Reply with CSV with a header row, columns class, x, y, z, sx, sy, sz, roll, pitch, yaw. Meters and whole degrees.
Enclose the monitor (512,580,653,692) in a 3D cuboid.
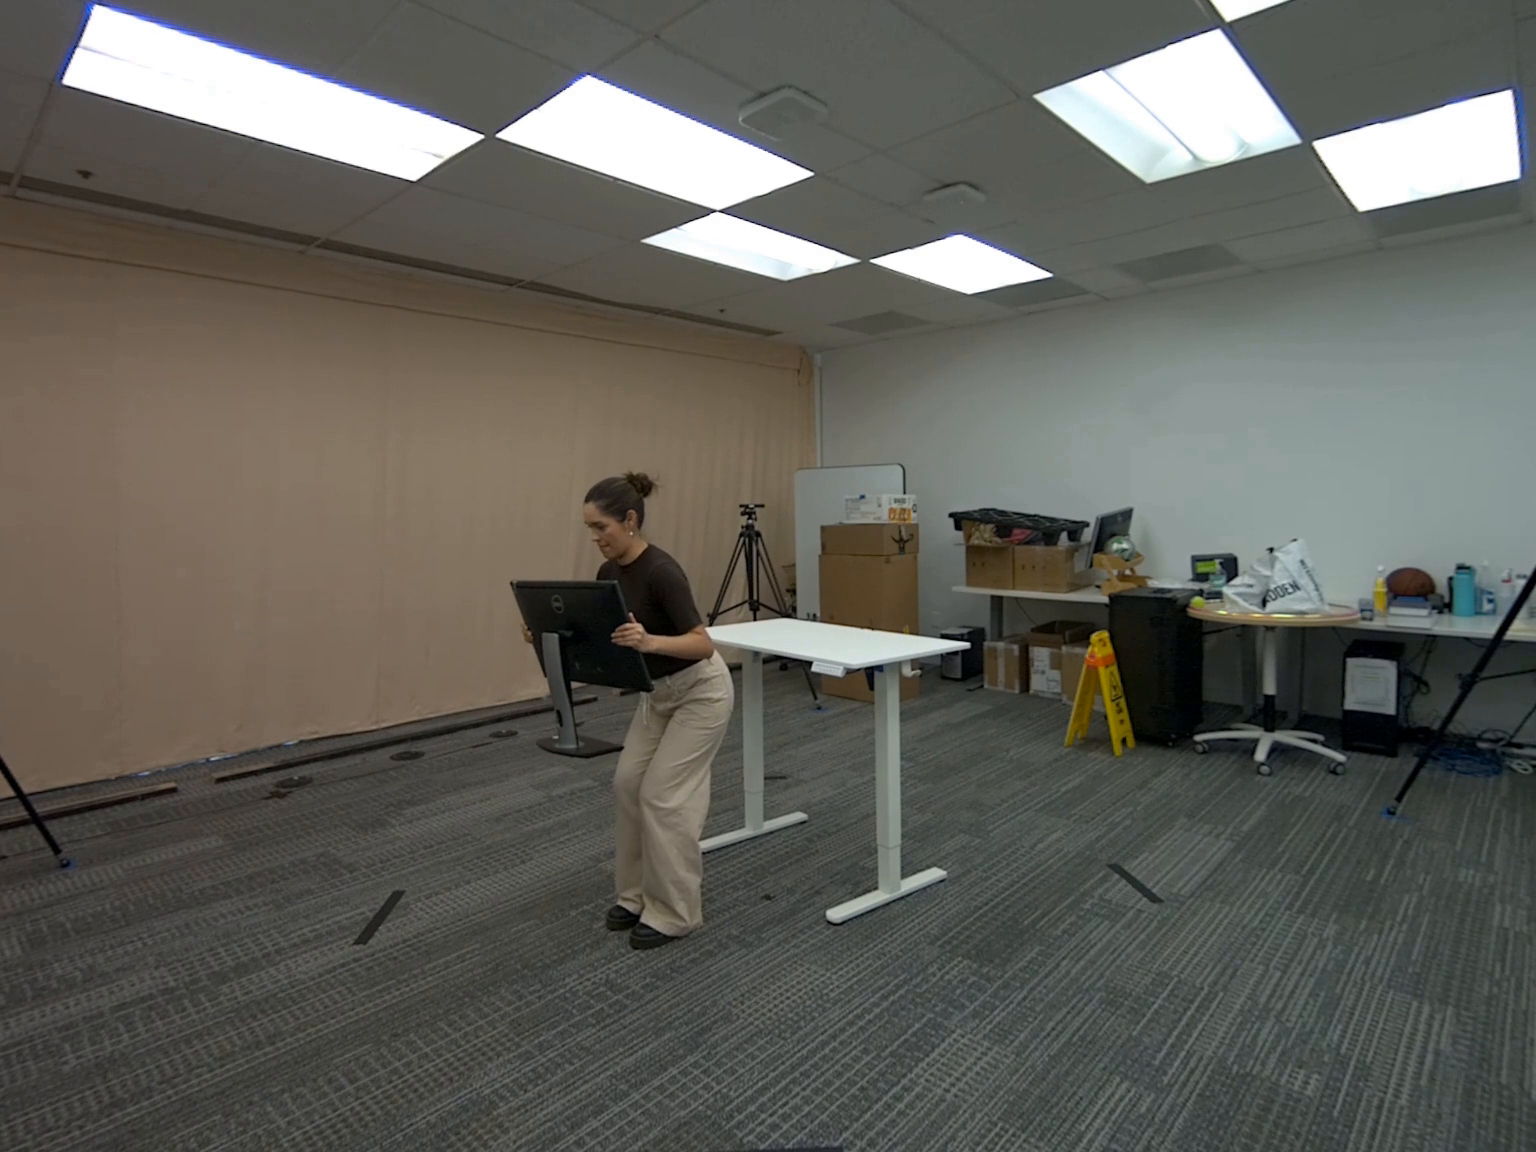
class,x,y,z,sx,sy,sz,roll,pitch,yaw
monitor,-0.602,0.274,2.577,0.556,0.521,0.182,-1,5,42
